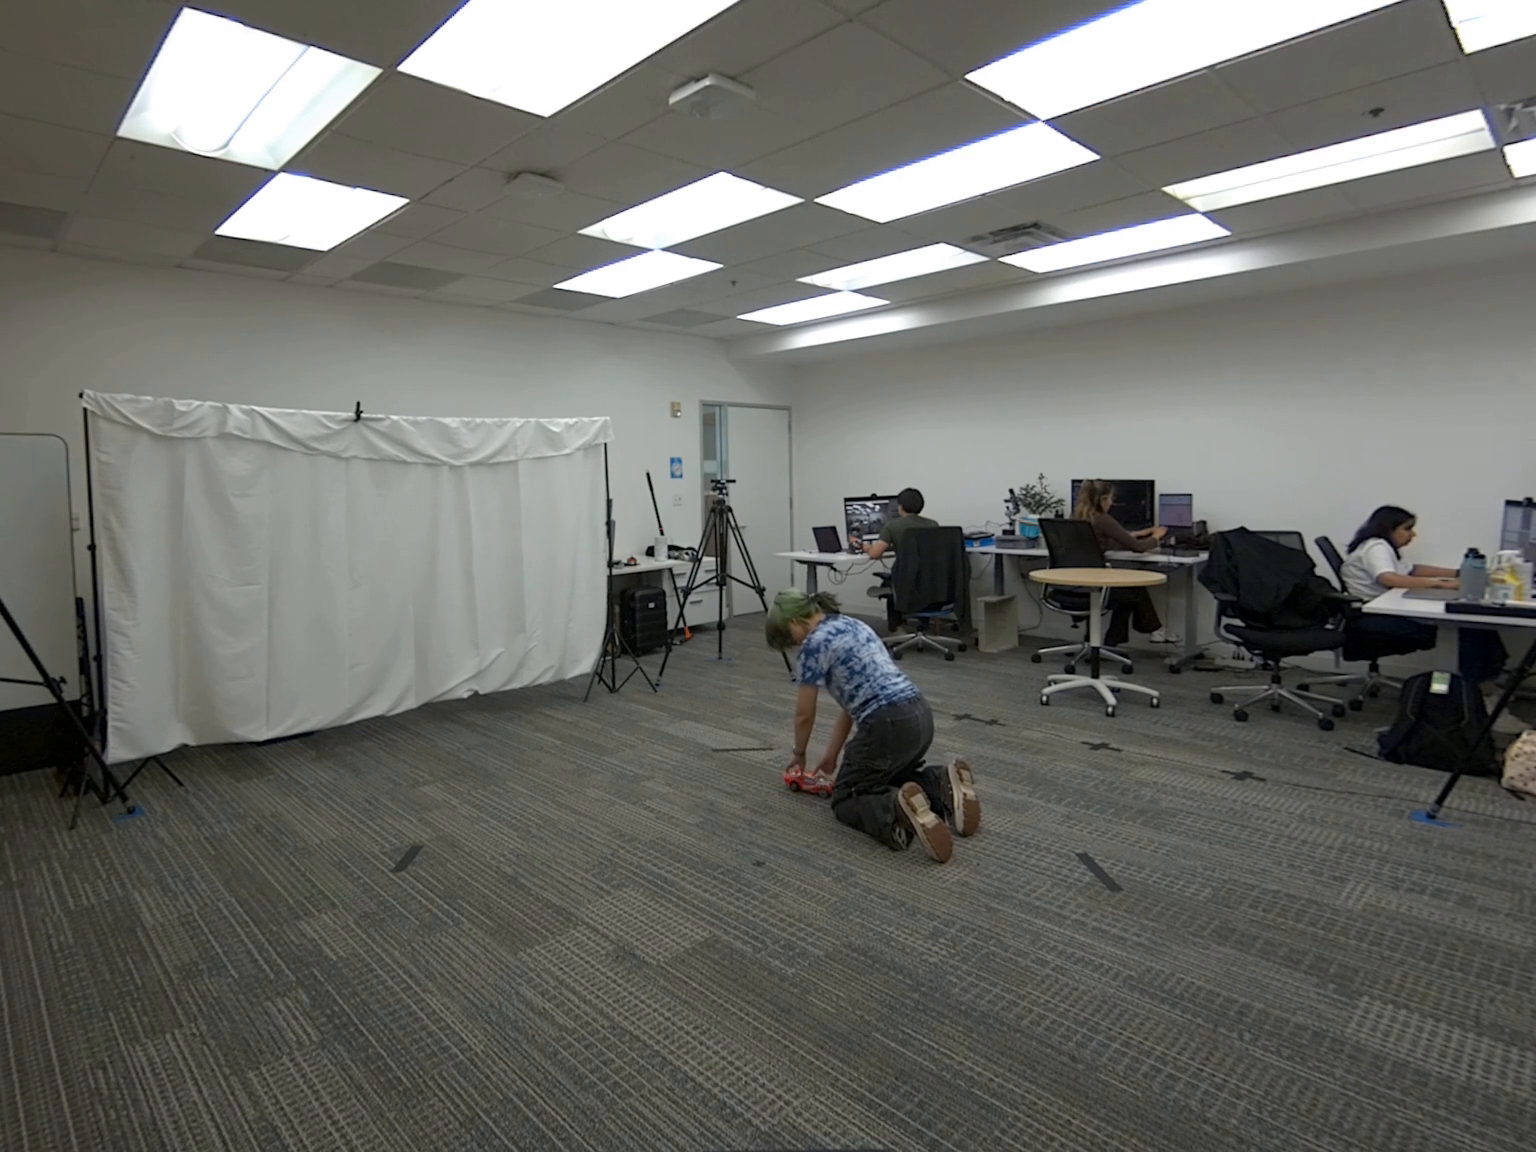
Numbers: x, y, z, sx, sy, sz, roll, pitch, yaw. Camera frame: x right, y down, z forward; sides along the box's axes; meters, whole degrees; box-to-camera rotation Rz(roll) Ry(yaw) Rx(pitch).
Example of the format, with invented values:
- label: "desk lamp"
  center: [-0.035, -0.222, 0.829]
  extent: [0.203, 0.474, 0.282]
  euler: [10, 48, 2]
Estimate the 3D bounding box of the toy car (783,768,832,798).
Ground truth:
- label: "toy car"
  center: [0.189, 0.929, 3.840]
  extent: [0.263, 0.082, 0.127]
  euler: [17, 14, 30]
